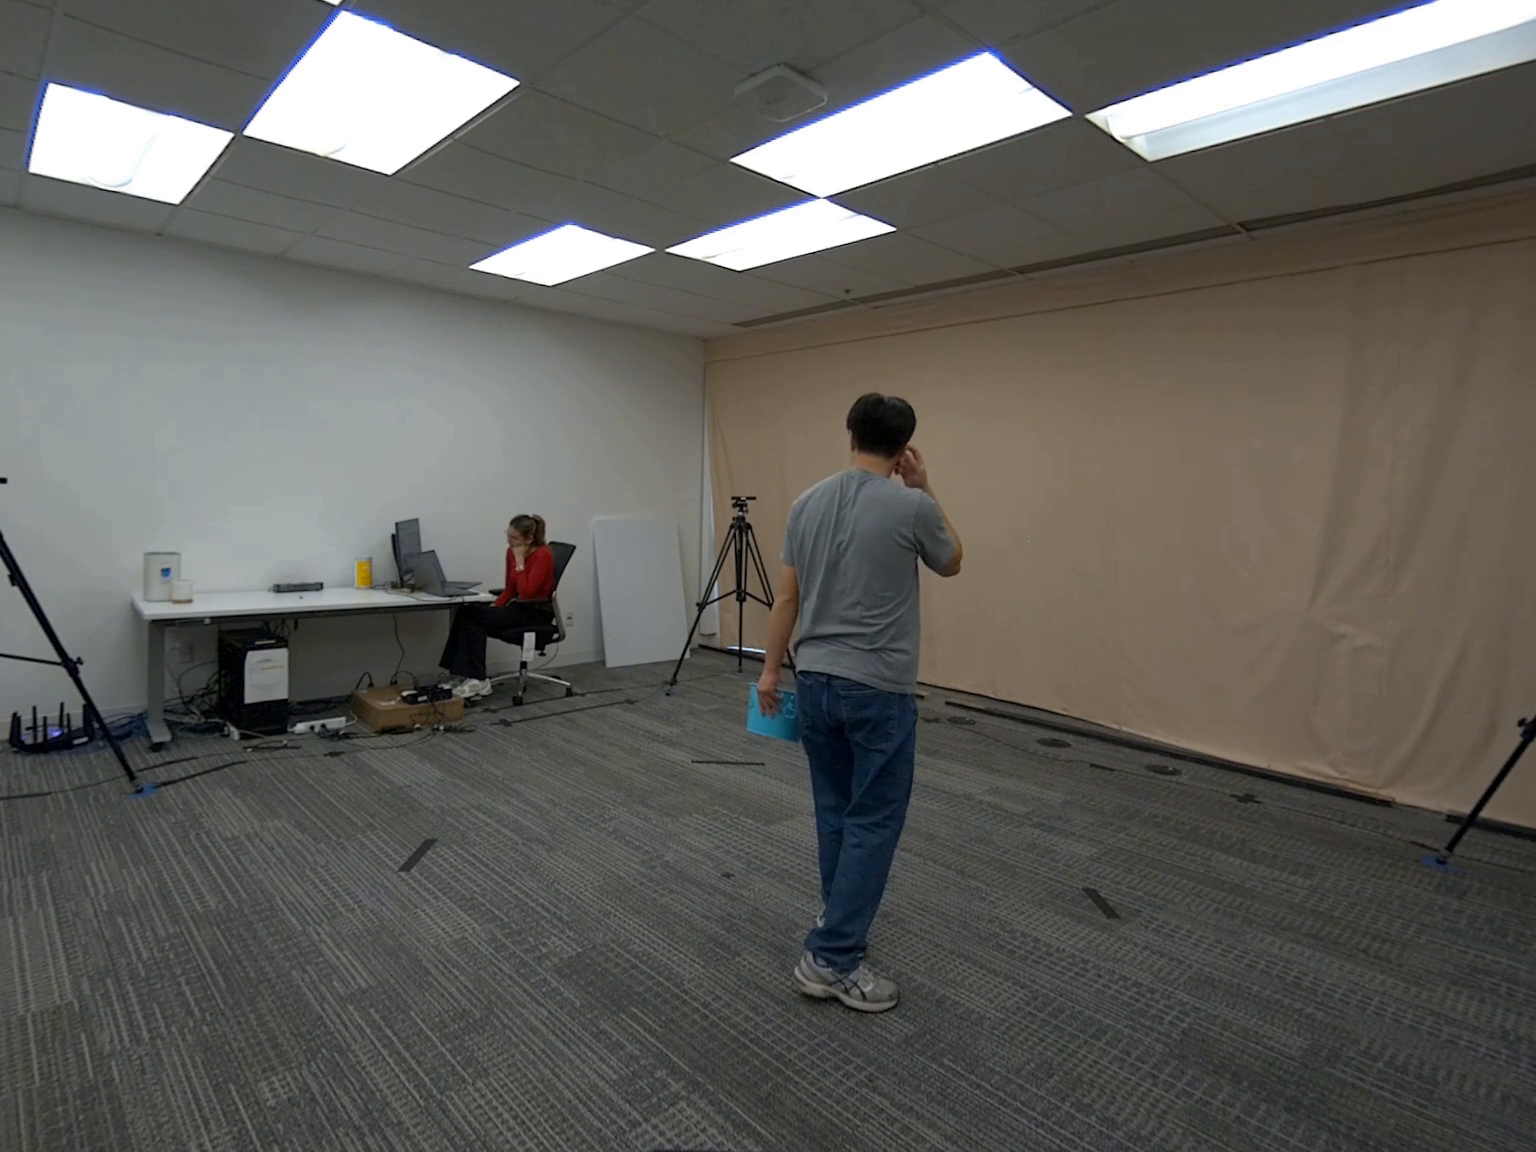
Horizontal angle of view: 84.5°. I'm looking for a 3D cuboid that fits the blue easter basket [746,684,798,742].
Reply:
[{"bbox_3d":[0.048,0.455,2.798,0.244,0.157,0.242,12,-9,1],"label":"blue easter basket"}]
